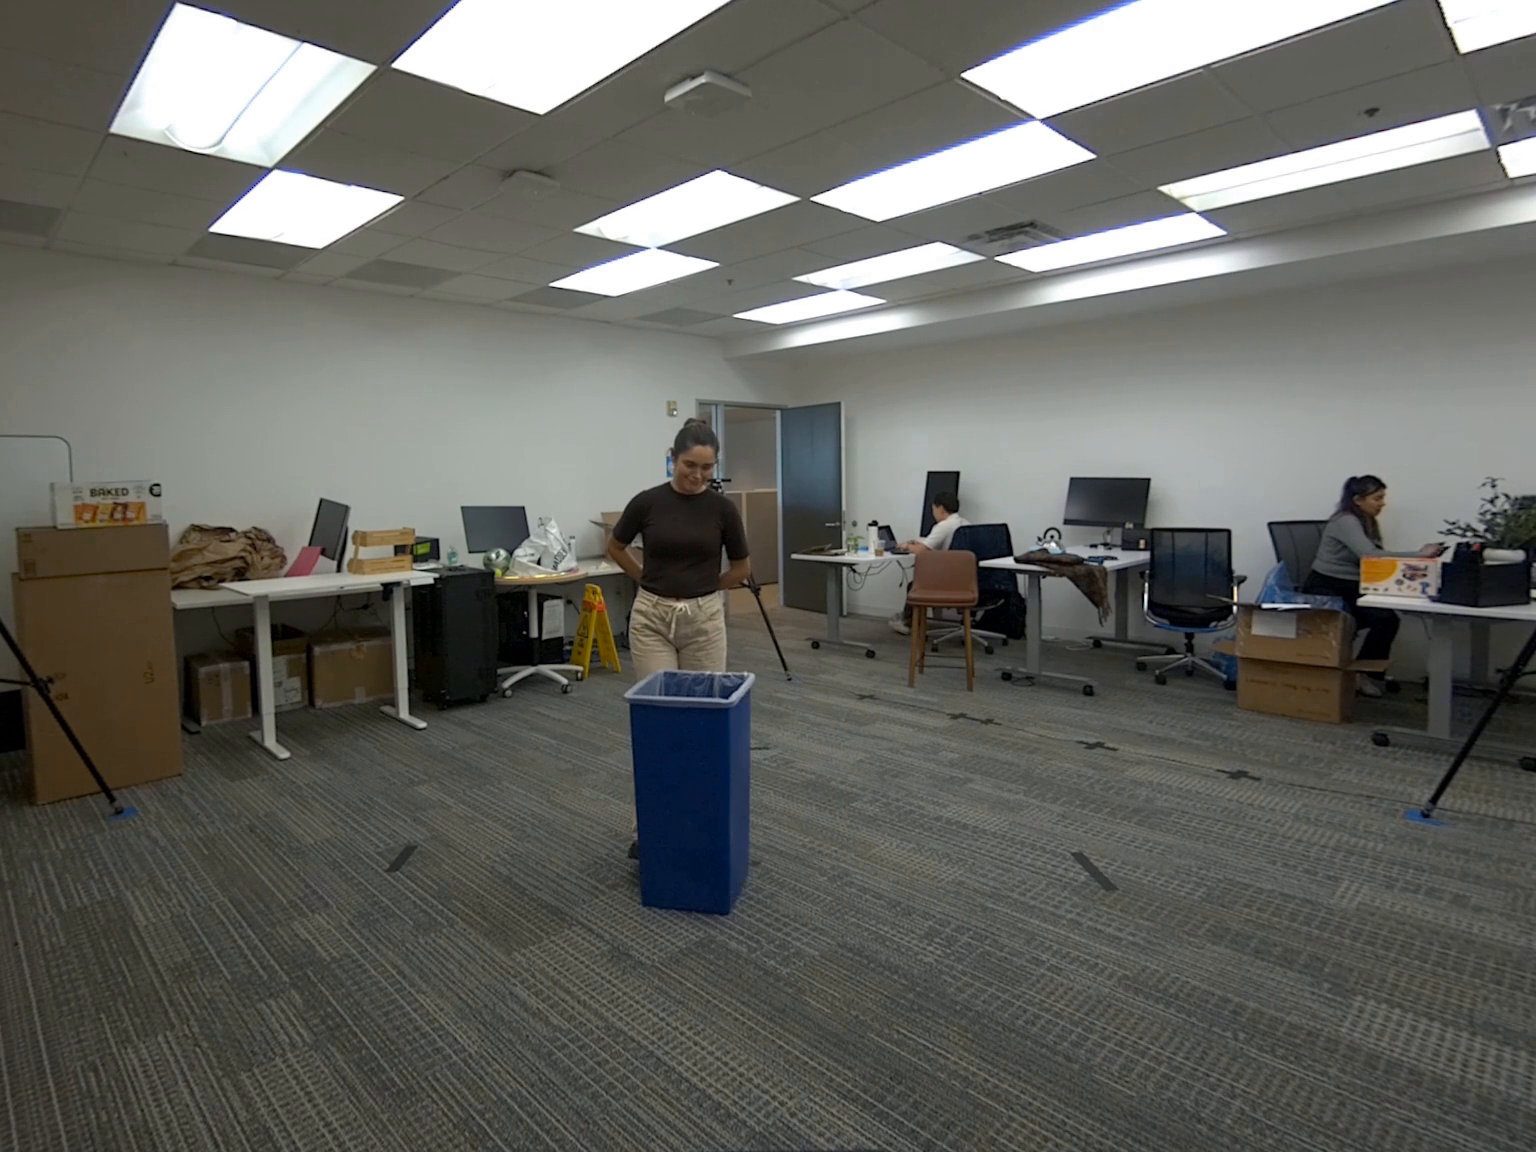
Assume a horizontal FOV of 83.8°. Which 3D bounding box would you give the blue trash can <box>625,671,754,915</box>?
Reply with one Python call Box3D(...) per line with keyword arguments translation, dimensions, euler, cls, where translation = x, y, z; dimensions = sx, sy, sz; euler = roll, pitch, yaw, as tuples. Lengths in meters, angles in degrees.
Box3D(translation=(-0.248, 0.716, 2.883), dimensions=(0.379, 0.710, 0.374), euler=(0, 5, 14), cls="blue trash can")
